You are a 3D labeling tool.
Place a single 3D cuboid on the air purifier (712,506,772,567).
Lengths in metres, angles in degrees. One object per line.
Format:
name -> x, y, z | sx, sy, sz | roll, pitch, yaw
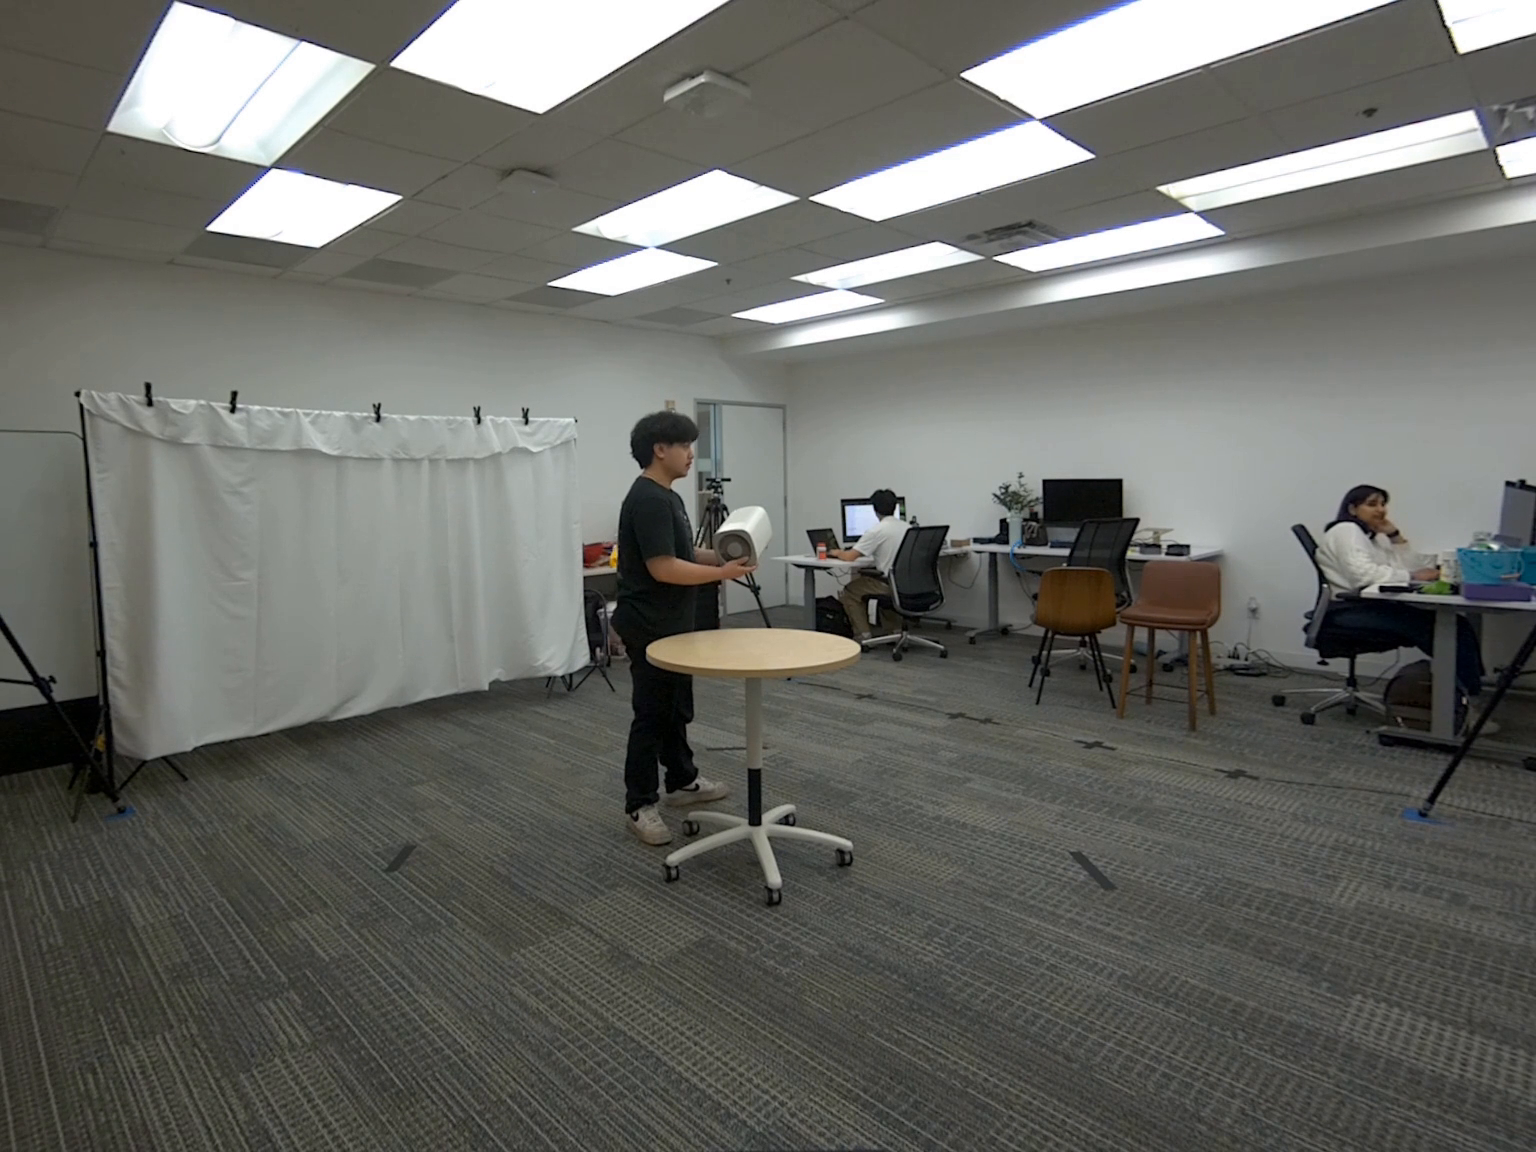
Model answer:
air purifier -> -0.103, -0.157, 3.468 | 0.174, 0.167, 0.267 | -9, 22, 19
